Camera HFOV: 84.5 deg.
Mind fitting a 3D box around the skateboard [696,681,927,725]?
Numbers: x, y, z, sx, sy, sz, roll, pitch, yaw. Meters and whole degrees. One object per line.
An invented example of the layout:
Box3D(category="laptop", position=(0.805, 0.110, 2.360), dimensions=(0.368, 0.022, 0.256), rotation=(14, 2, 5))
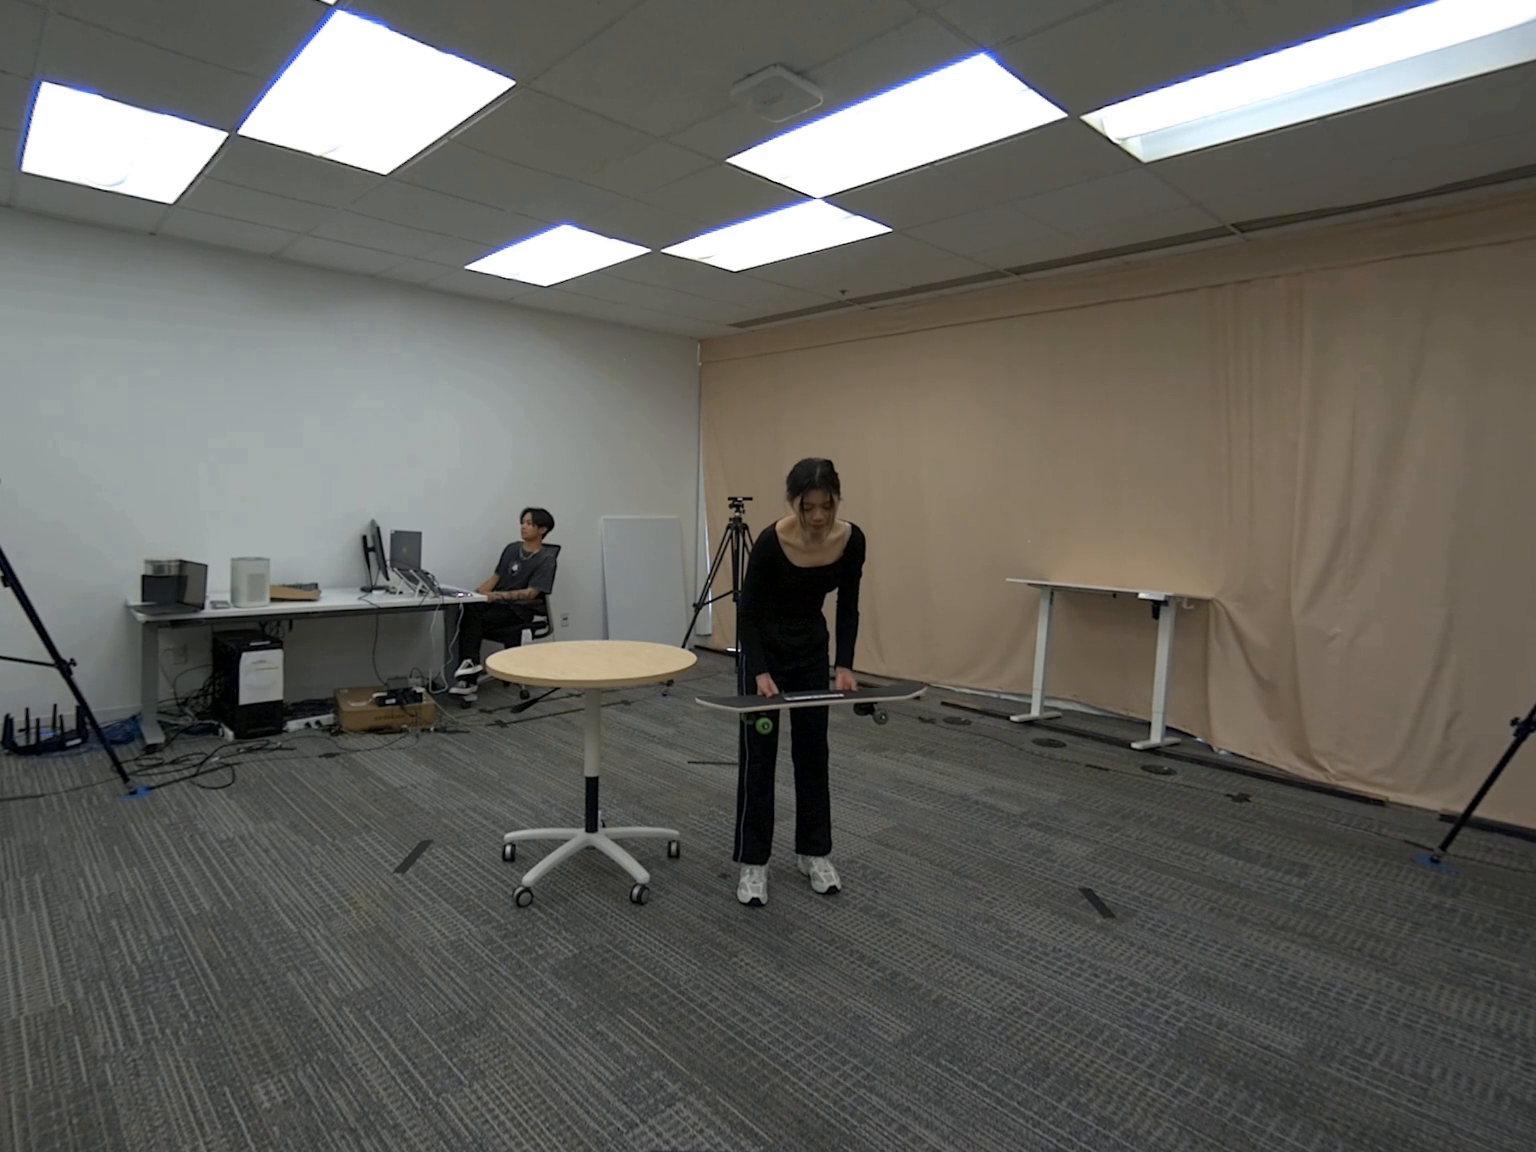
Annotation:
Box3D(category="skateboard", position=(0.150, 0.429, 2.728), dimensions=(0.775, 0.110, 0.196), rotation=(-3, 2, -17))
